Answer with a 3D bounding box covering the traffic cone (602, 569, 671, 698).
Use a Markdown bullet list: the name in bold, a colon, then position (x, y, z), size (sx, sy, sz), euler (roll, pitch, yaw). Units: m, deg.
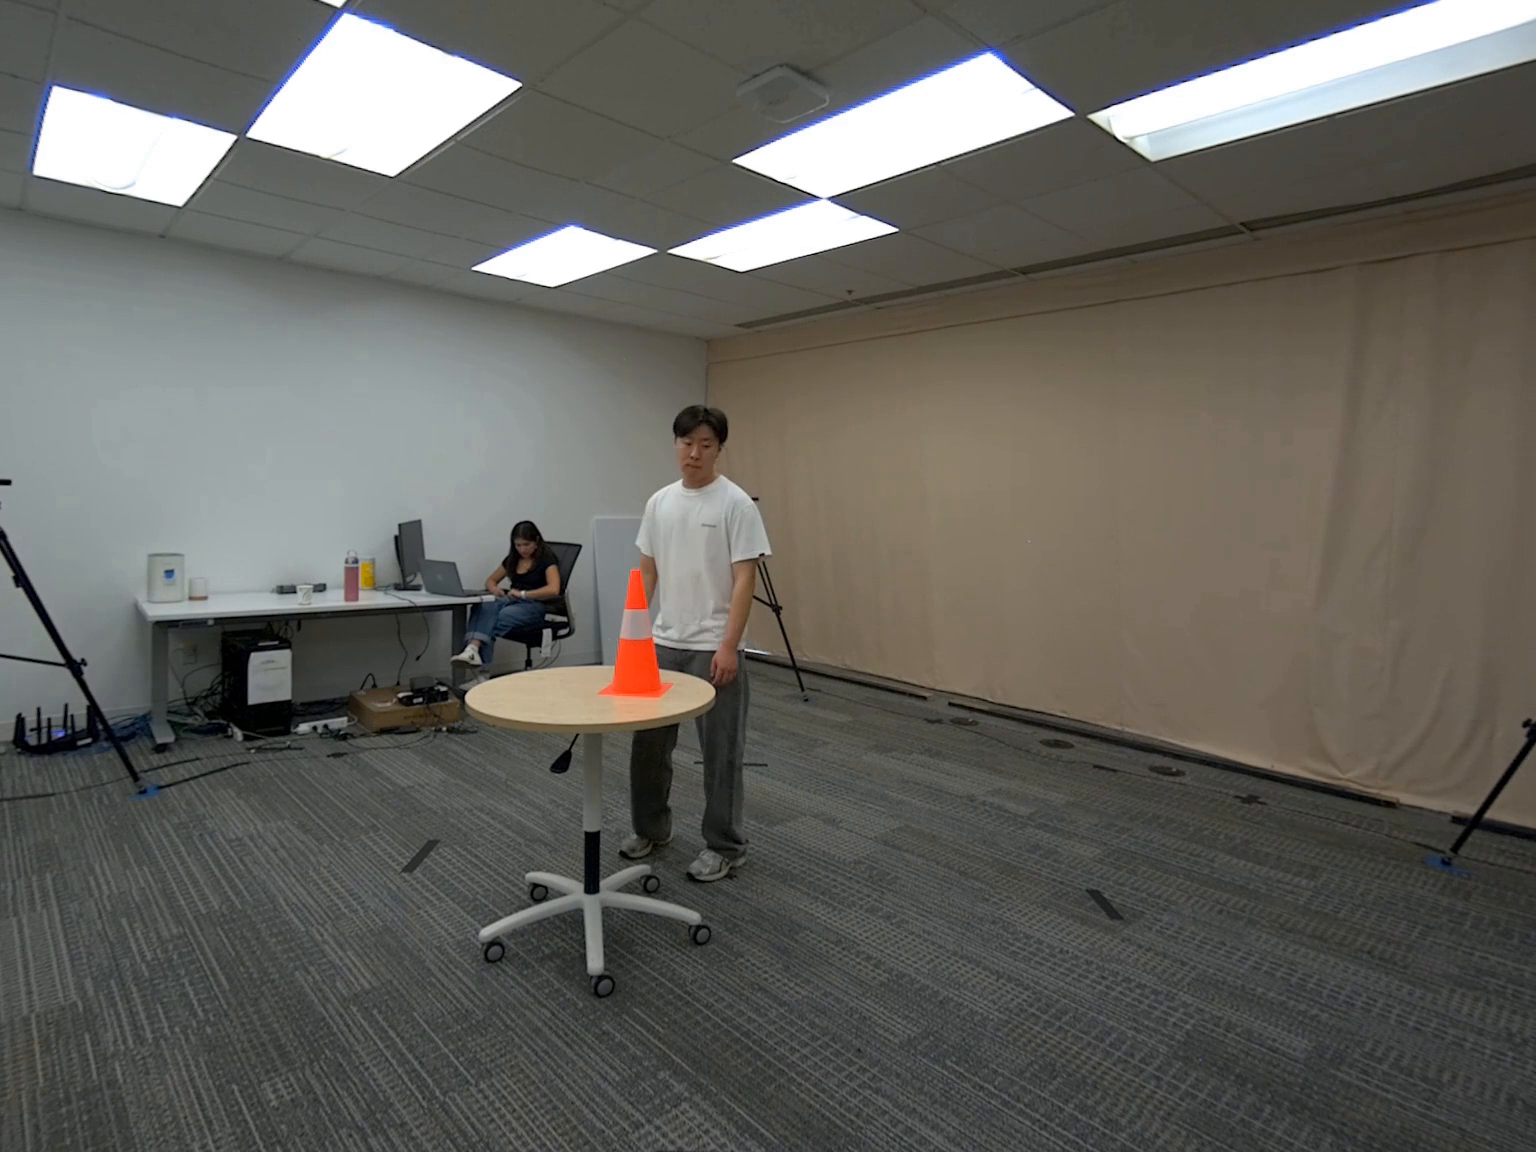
- **traffic cone**: position (-0.423, 0.175, 2.647), size (0.205, 0.383, 0.204), euler (2, 2, 9)
